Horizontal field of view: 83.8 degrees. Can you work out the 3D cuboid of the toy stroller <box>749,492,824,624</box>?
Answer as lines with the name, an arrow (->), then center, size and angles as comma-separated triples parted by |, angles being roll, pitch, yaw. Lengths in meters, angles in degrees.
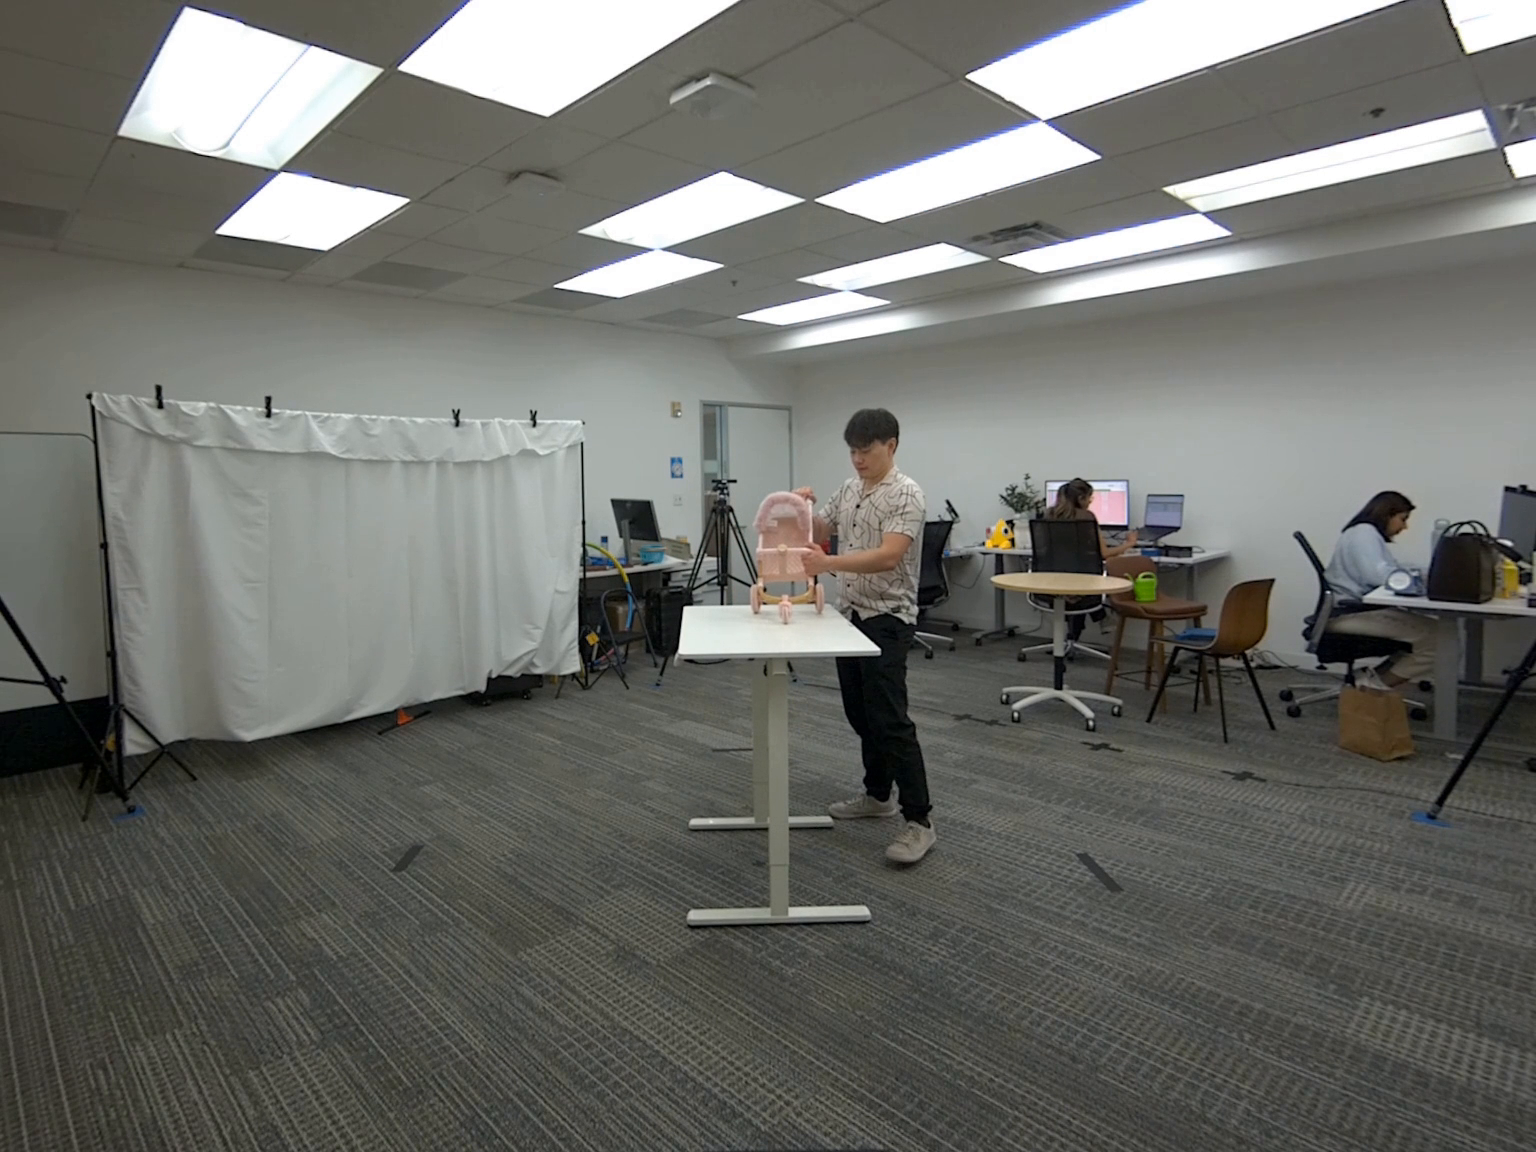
toy stroller -> 0.064, -0.076, 3.215 | 0.284, 0.540, 0.335 | -2, -9, 9
